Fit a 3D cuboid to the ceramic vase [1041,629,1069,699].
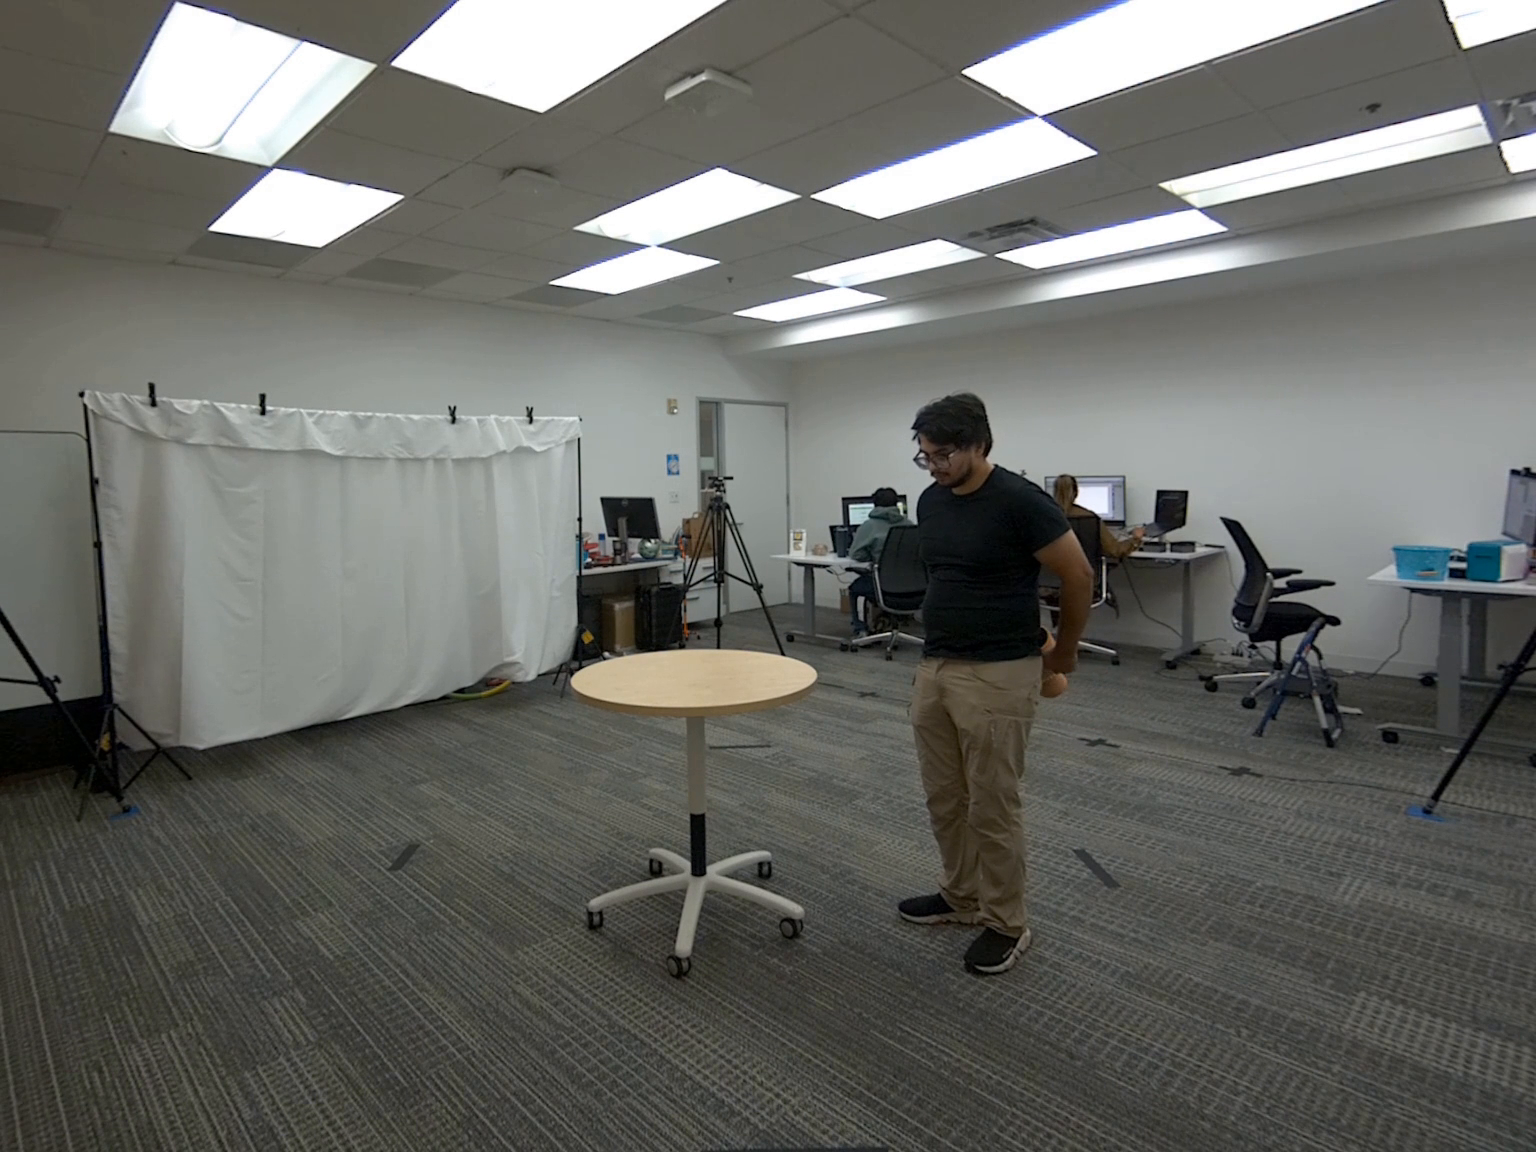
[{"bbox_3d":[0.861,0.271,2.671,0.137,0.213,0.160,-17,30,35],"label":"ceramic vase"}]
